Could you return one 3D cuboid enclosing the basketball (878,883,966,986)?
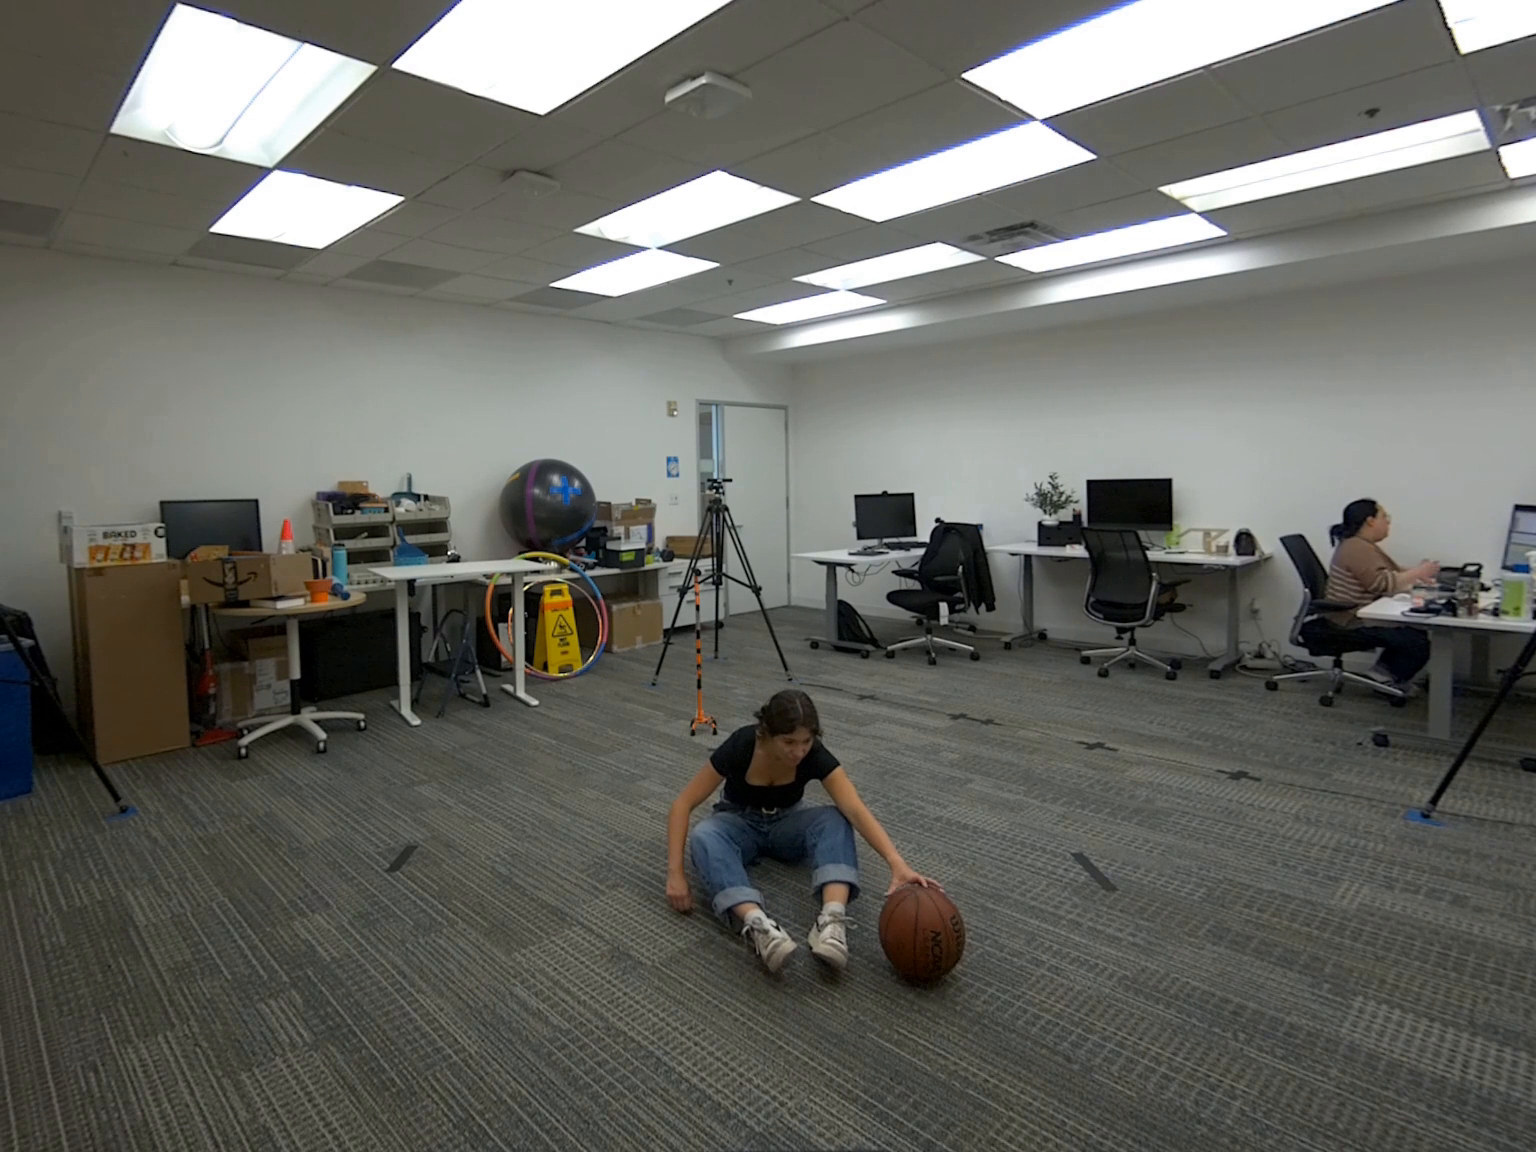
[{"bbox_3d":[0.438,0.995,2.402,0.236,0.235,0.237,-1,5,-2],"label":"basketball"}]
